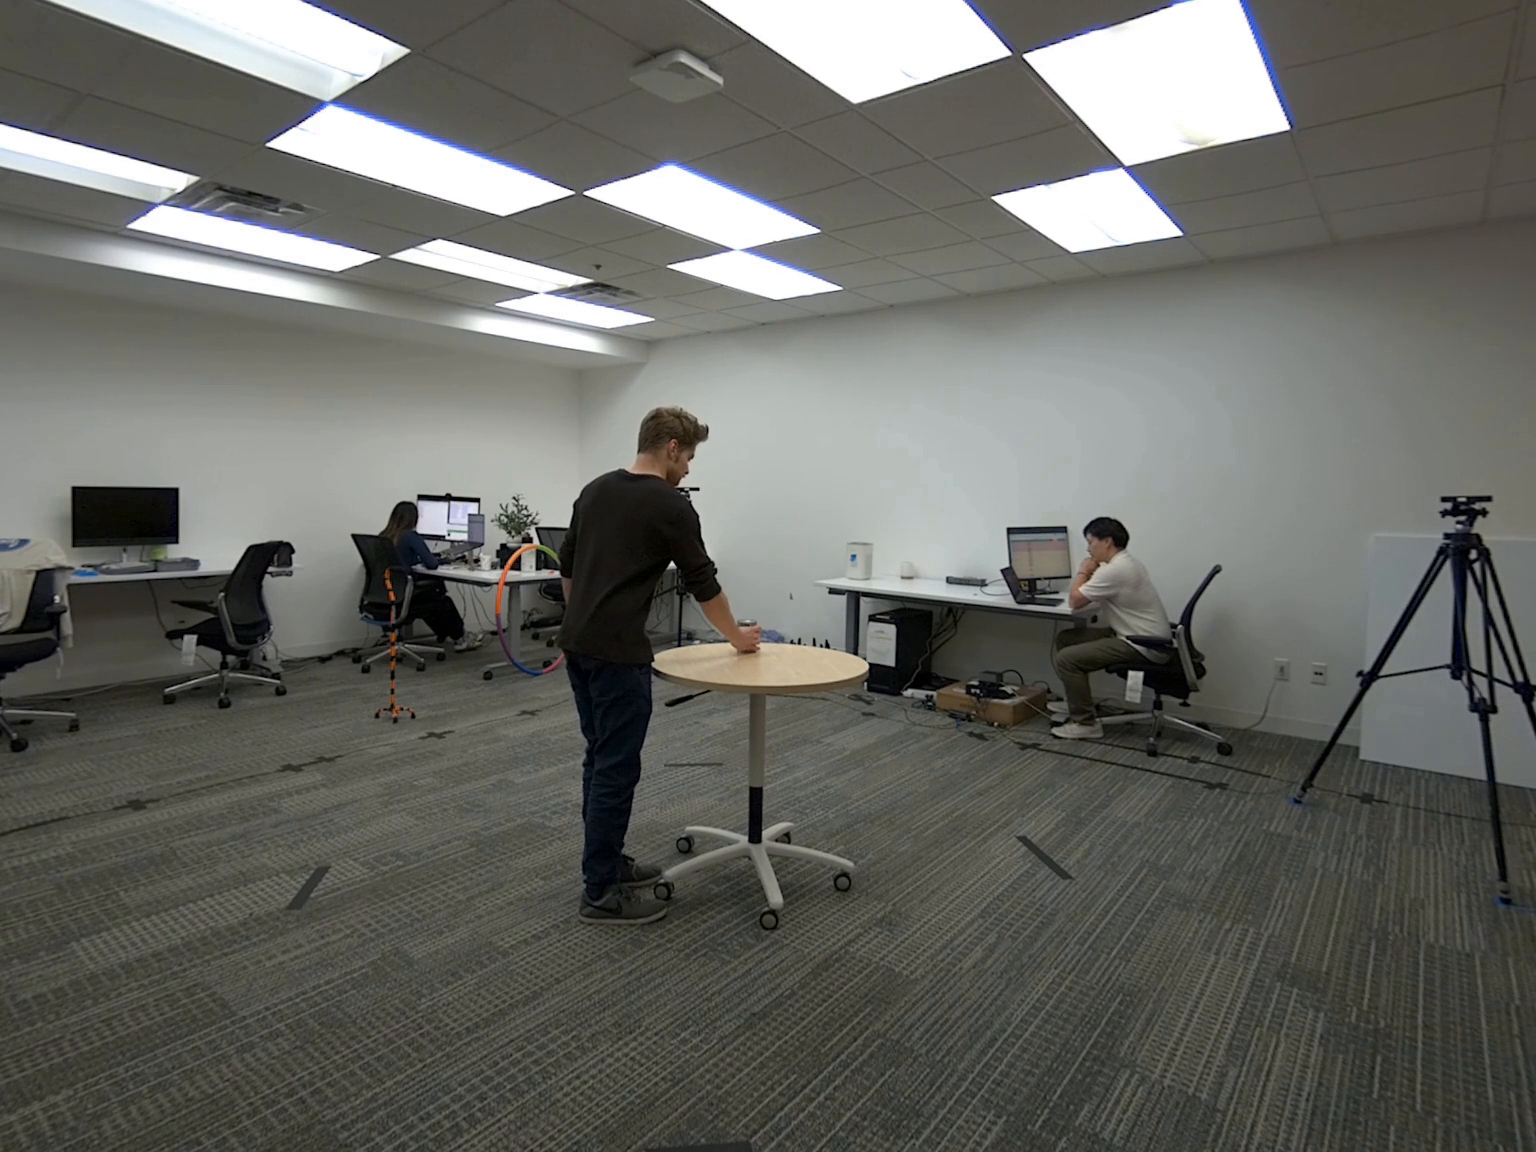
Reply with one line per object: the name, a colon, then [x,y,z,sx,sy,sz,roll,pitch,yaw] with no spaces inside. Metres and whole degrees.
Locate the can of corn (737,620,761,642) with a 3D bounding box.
can of corn: [-0.091,0.231,3.166,0.074,0.110,0.075,-1,5,-2]
